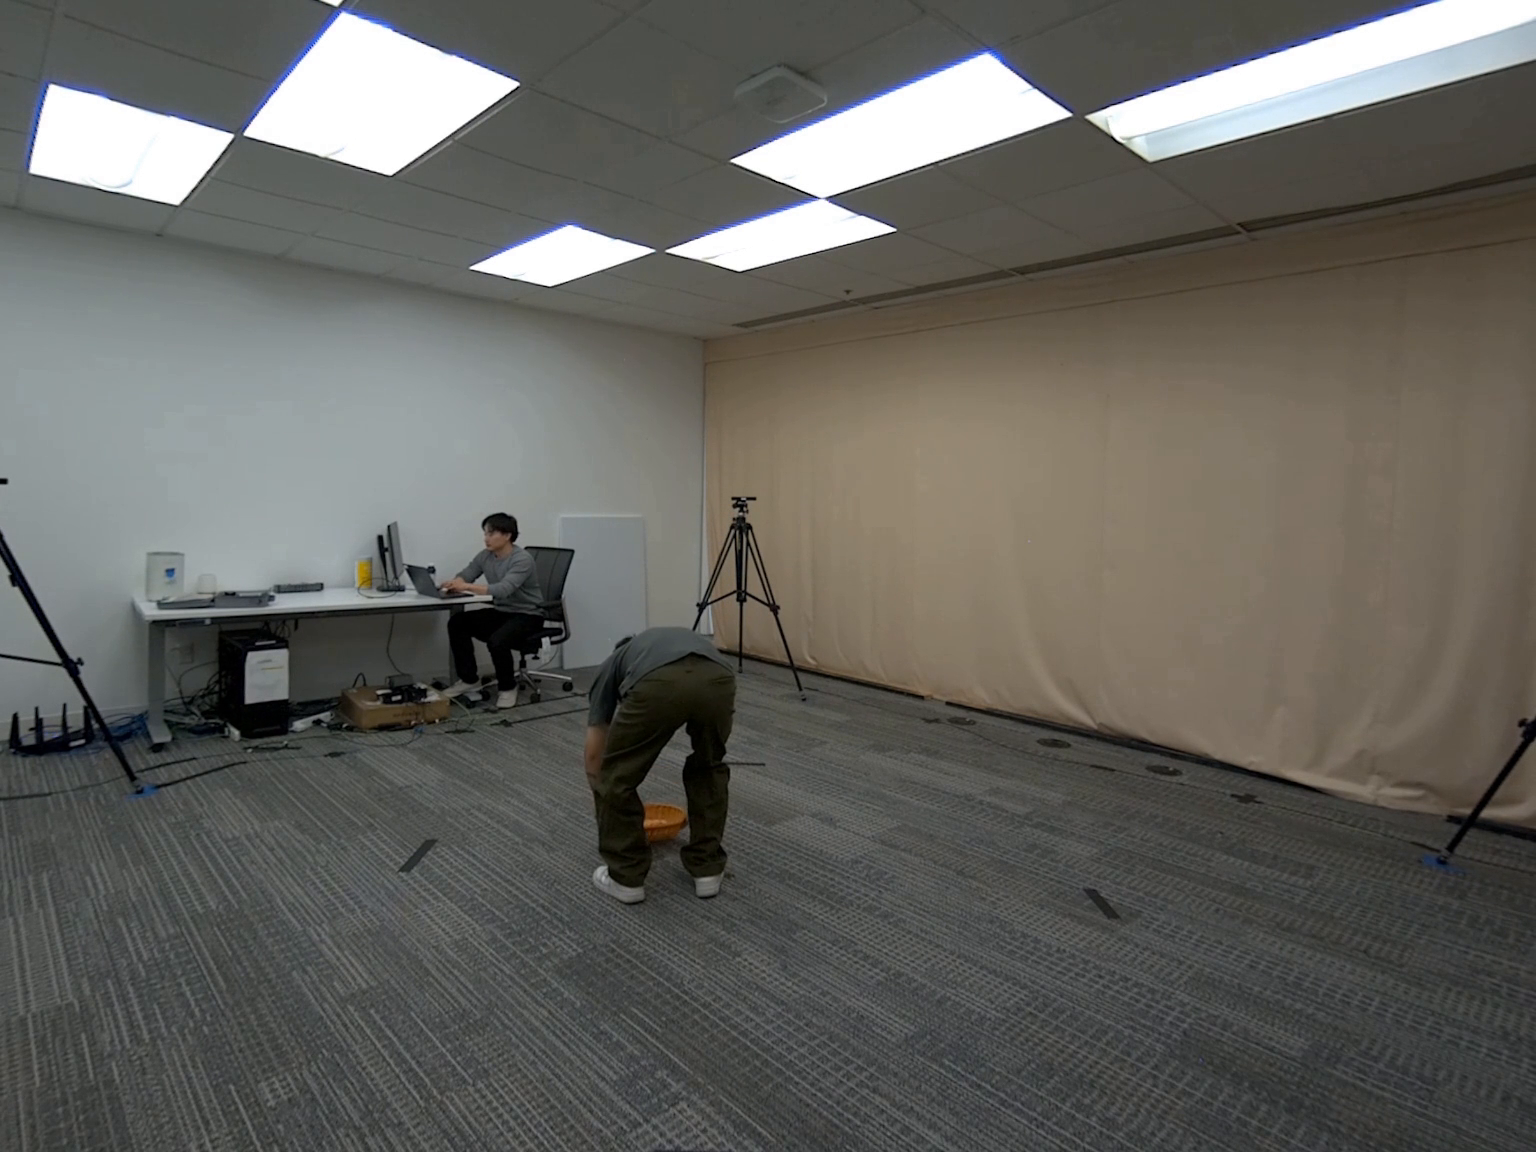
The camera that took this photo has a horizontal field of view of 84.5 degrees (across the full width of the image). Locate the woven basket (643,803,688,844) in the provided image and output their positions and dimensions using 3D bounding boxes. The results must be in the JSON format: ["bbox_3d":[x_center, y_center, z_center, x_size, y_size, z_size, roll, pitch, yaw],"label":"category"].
[{"bbox_3d":[-0.503,0.987,3.372,0.345,0.073,0.256,-1,4,-19],"label":"woven basket"}]
